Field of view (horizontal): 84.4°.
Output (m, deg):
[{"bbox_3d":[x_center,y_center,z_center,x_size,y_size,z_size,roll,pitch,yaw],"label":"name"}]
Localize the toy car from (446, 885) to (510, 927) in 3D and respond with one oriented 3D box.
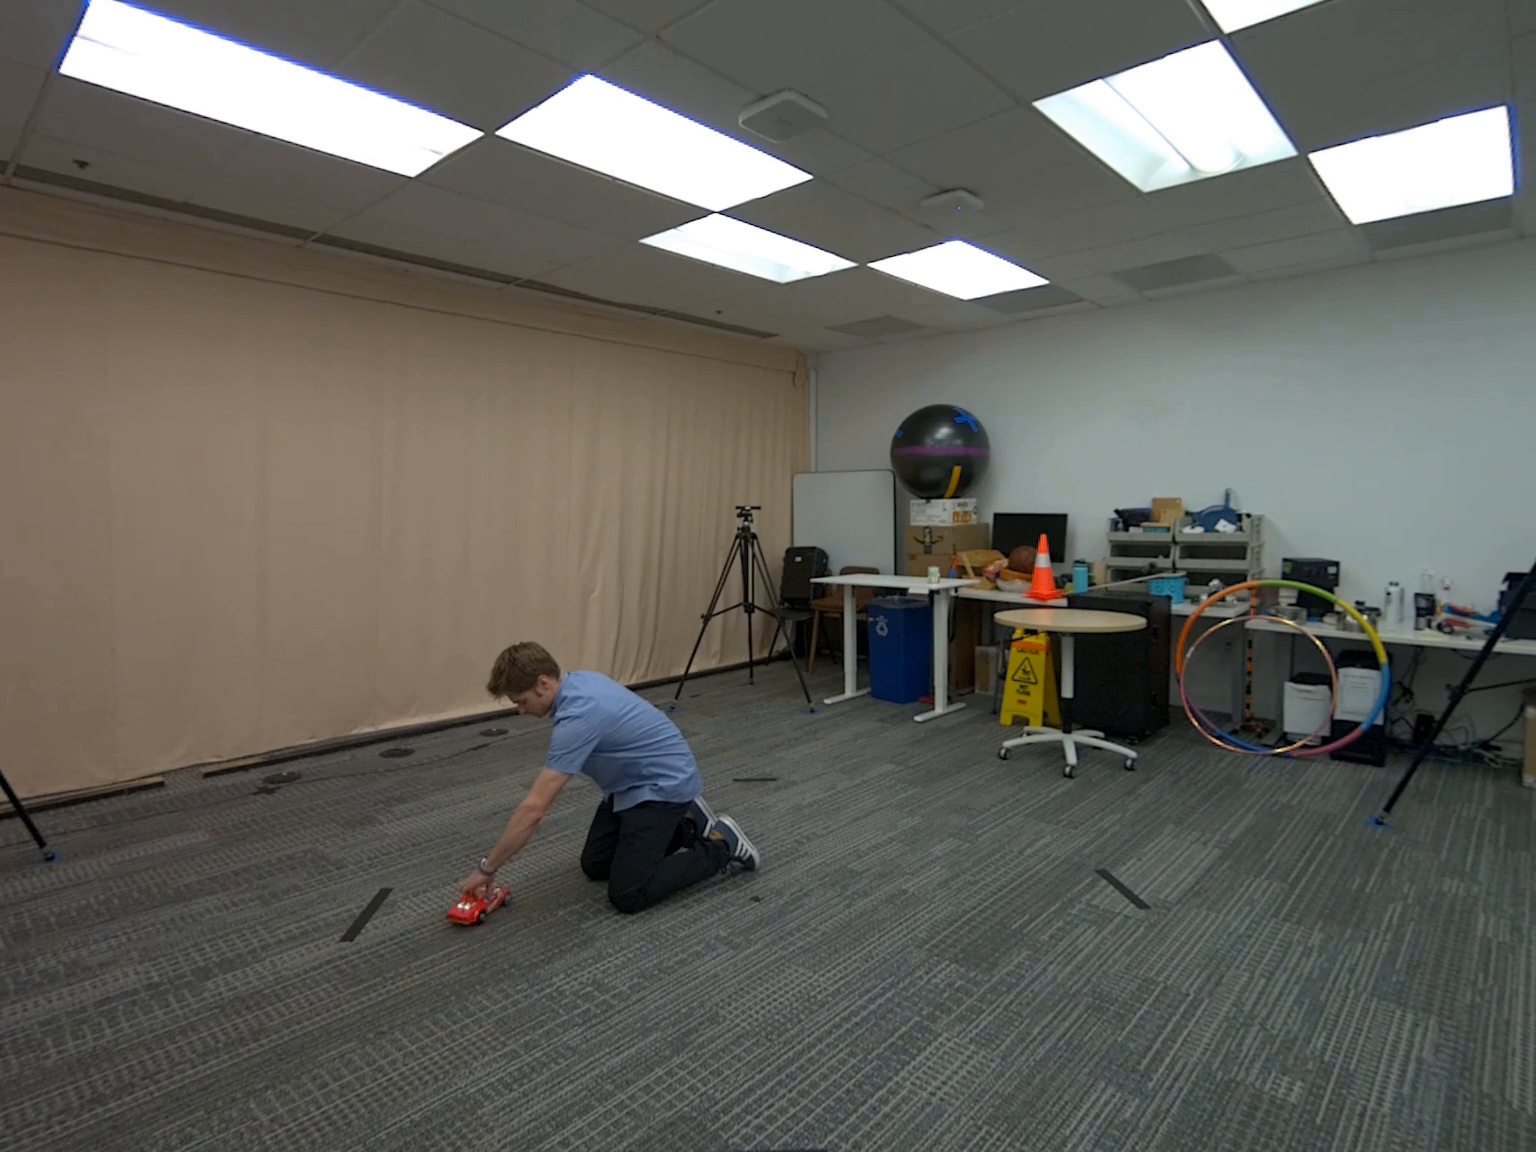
[{"bbox_3d":[-0.991,1.134,2.873,0.133,0.083,0.248,0,-9,17],"label":"toy car"}]
